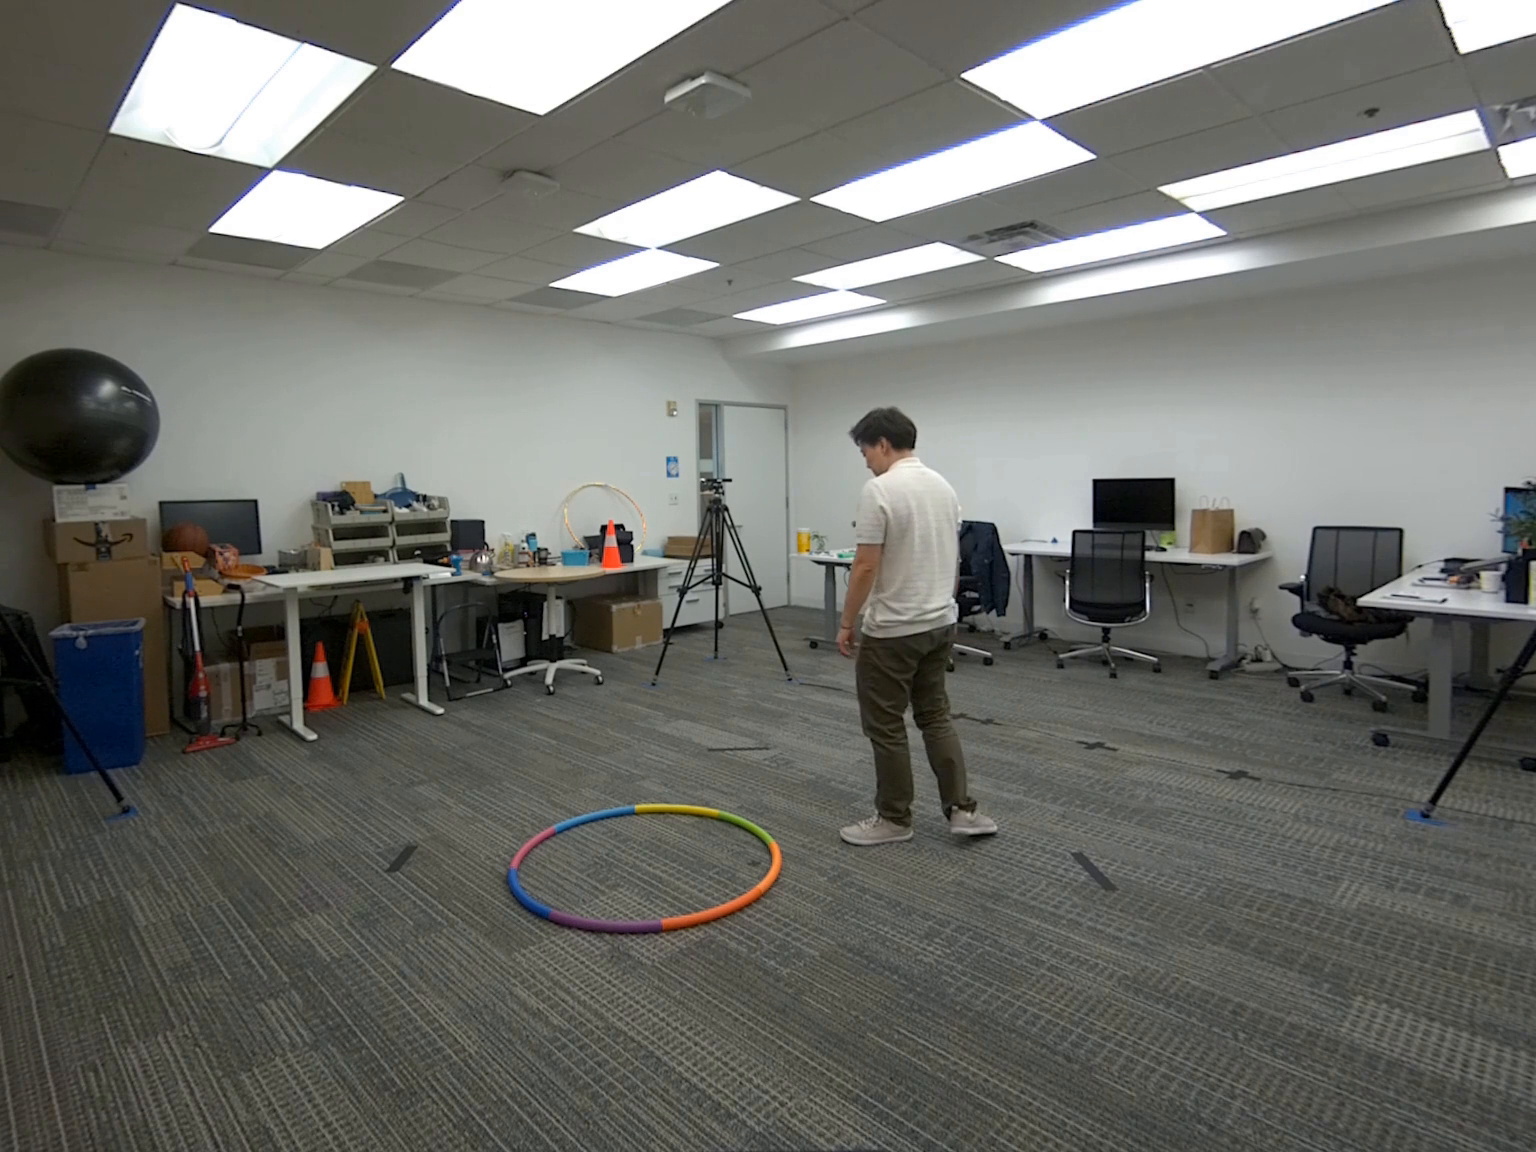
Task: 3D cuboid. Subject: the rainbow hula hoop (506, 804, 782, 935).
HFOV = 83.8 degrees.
[{"bbox_3d":[-0.441,1.020,3.124,0.978,0.035,0.984,-1,7,-2],"label":"rainbow hula hoop"}]
